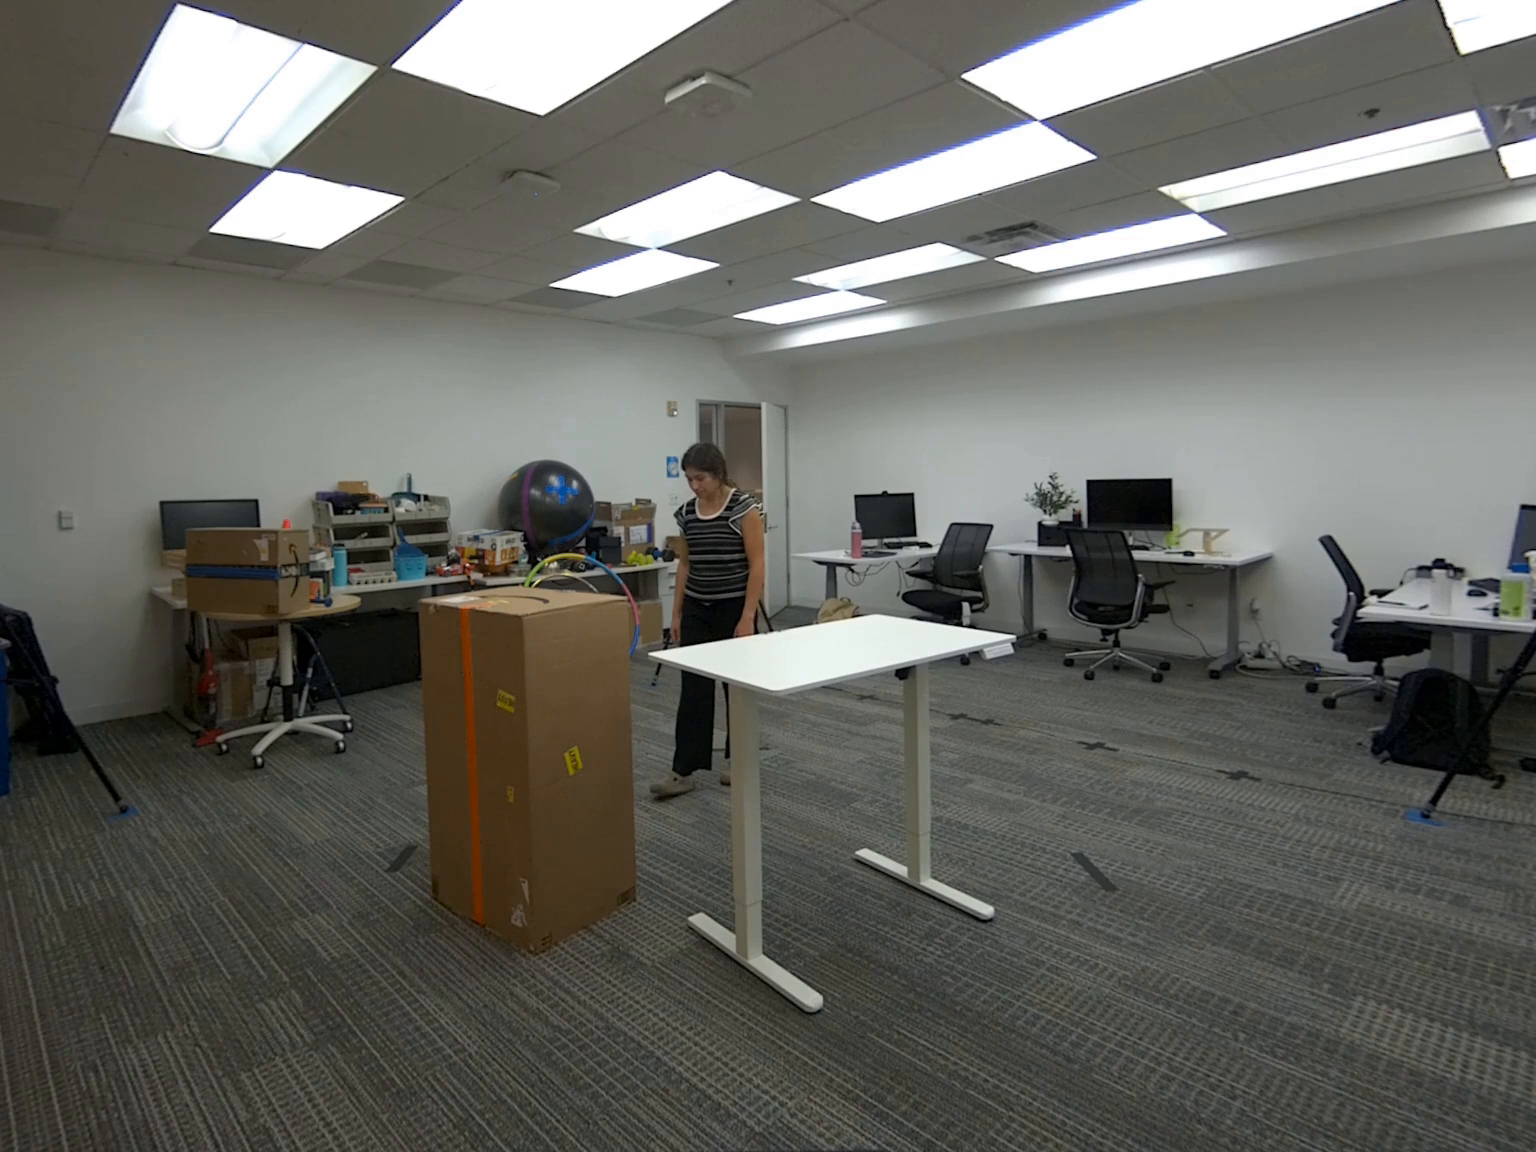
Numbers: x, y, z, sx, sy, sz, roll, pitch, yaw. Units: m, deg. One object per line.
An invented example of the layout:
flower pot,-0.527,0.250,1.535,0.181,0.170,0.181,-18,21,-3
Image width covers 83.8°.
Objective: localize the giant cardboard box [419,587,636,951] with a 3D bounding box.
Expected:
giant cardboard box,-0.802,0.582,2.843,0.595,1.022,0.415,2,5,39
